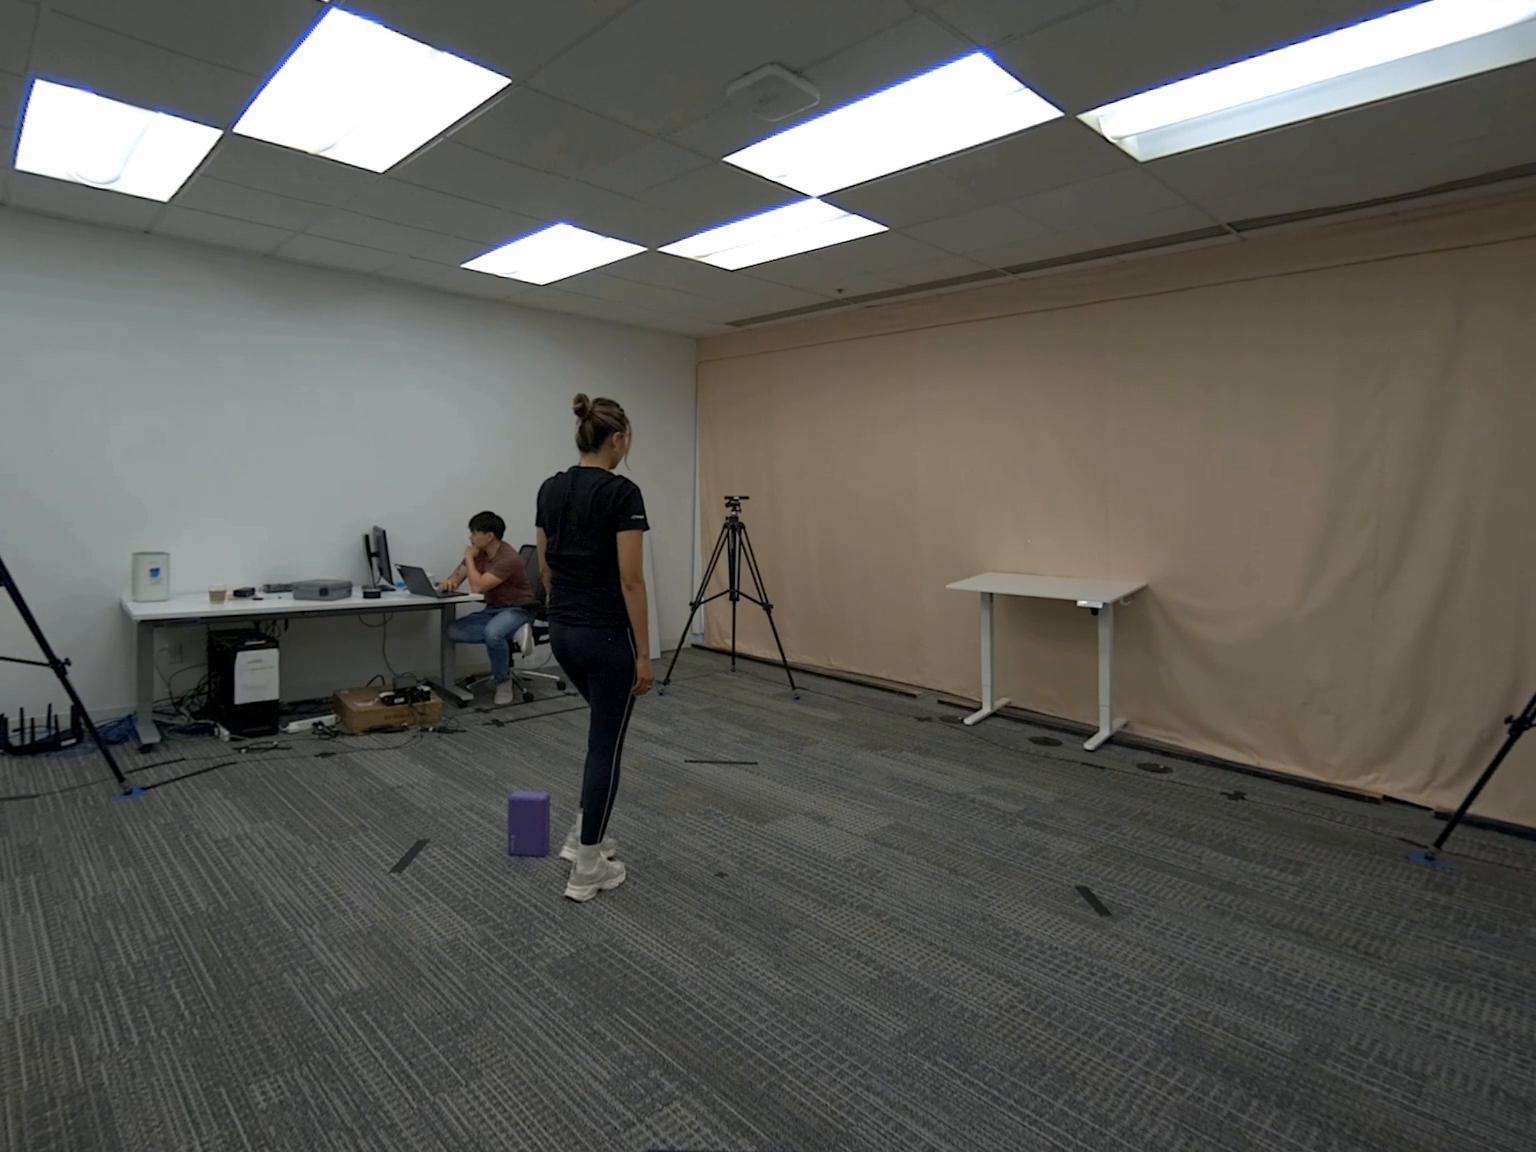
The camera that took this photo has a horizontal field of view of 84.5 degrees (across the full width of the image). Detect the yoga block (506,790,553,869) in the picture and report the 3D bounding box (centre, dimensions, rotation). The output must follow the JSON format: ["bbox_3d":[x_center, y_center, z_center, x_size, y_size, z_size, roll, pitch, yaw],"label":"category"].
[{"bbox_3d":[-0.930,0.958,3.252,0.150,0.229,0.076,2,4,7],"label":"yoga block"}]
